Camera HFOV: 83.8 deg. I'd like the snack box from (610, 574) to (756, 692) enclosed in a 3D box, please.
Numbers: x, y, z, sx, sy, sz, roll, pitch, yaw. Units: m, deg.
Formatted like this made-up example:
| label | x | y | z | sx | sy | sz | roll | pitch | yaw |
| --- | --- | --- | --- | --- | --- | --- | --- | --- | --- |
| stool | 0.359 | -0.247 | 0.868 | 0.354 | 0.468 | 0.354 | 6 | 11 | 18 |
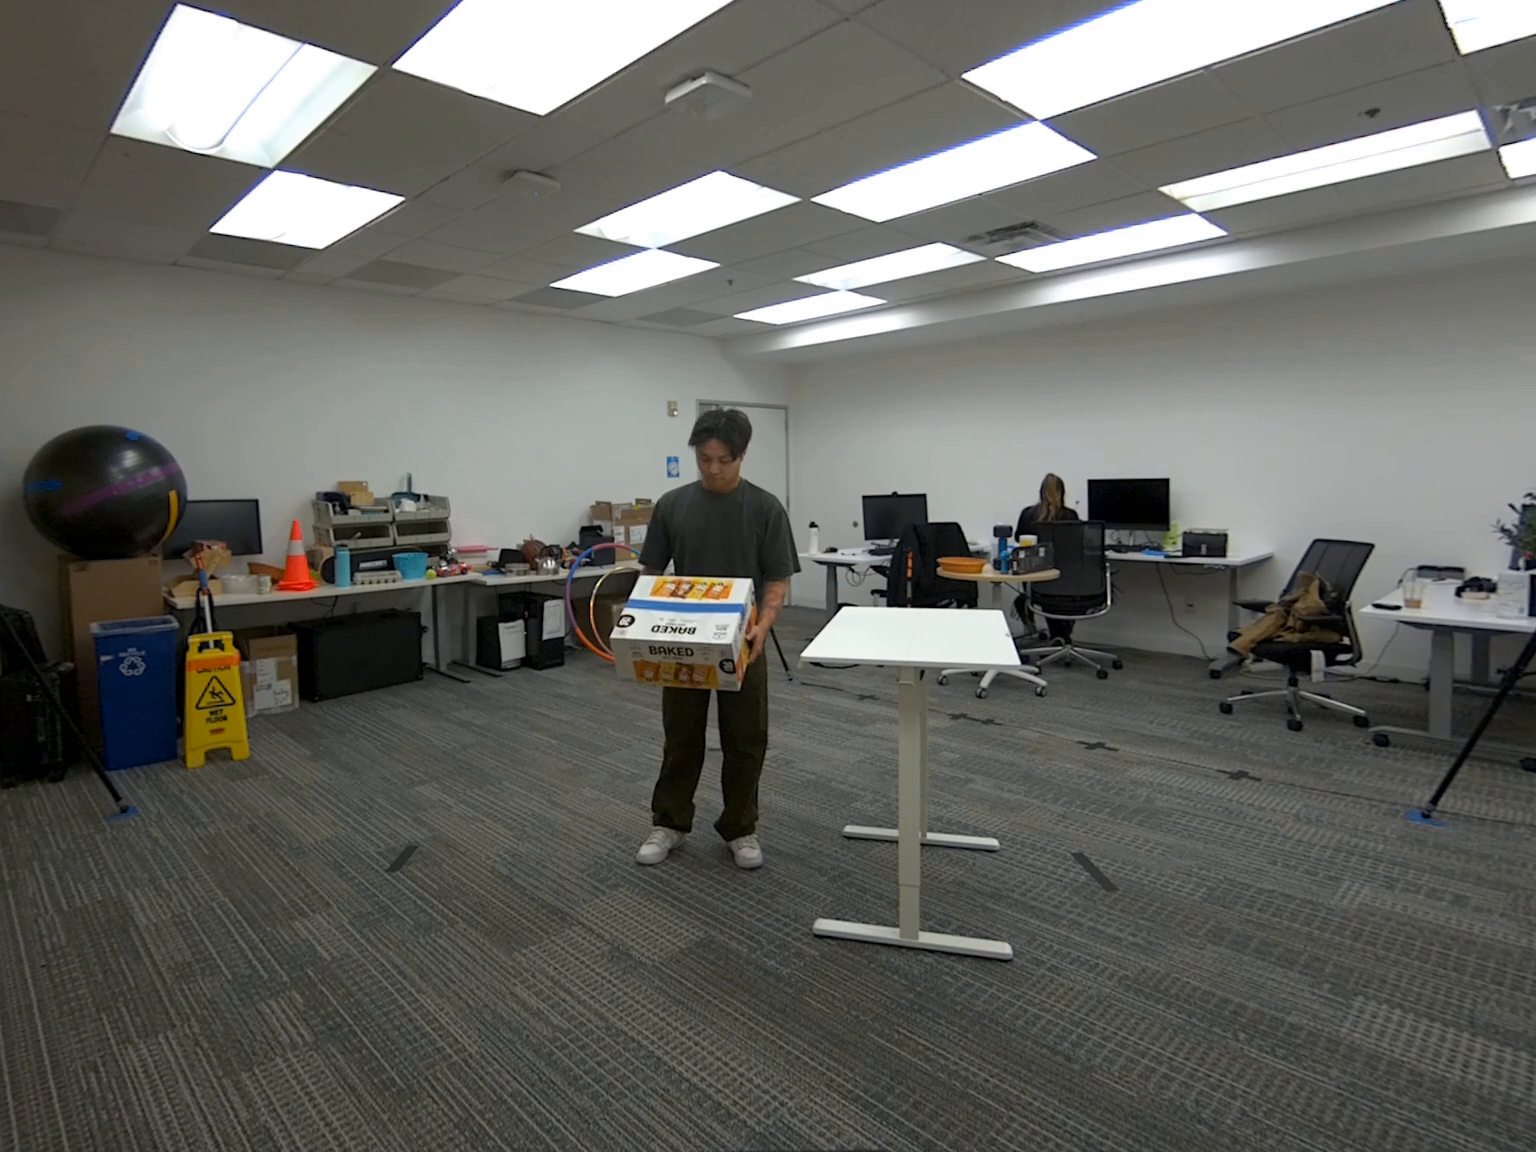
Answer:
| label | x | y | z | sx | sy | sz | roll | pitch | yaw |
| --- | --- | --- | --- | --- | --- | --- | --- | --- | --- |
| snack box | -0.279 | 0.185 | 2.858 | 0.410 | 0.200 | 0.345 | 1 | 34 | 13 |
